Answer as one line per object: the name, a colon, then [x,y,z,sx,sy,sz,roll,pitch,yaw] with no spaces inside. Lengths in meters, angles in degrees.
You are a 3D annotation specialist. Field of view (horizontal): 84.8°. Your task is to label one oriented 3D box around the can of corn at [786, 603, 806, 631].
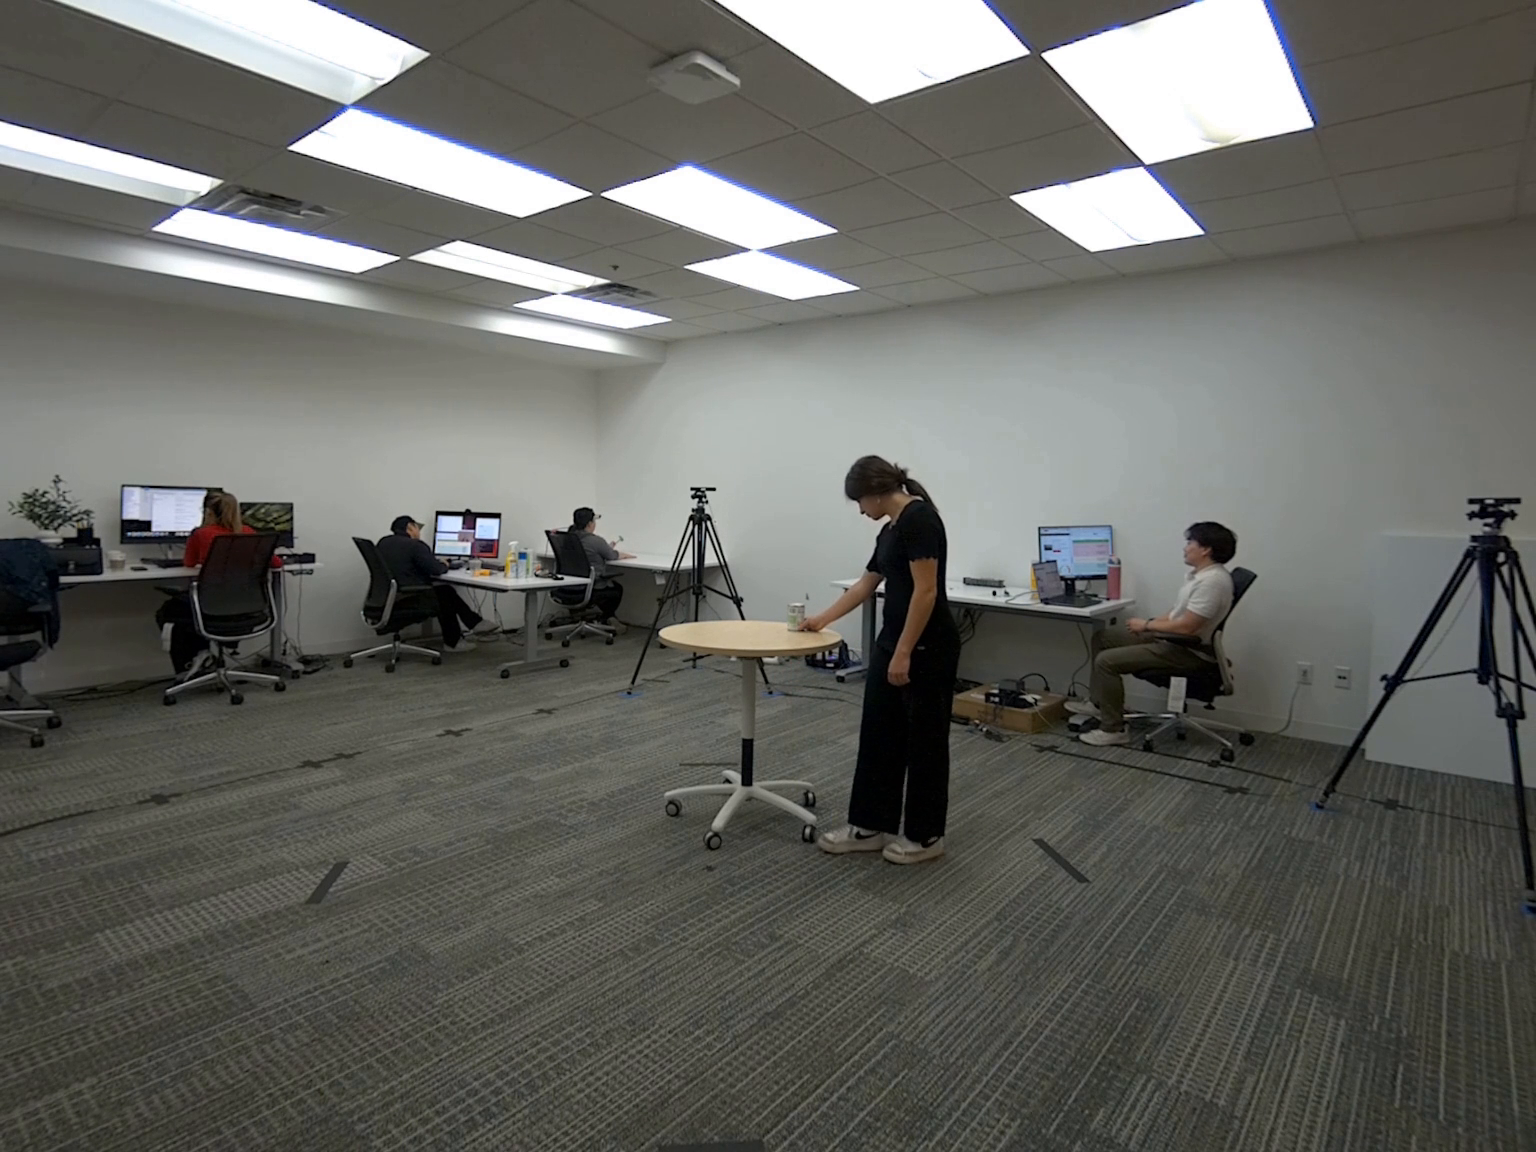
can of corn: [0.112,0.177,3.695,0.074,0.111,0.074,3,0,-2]
